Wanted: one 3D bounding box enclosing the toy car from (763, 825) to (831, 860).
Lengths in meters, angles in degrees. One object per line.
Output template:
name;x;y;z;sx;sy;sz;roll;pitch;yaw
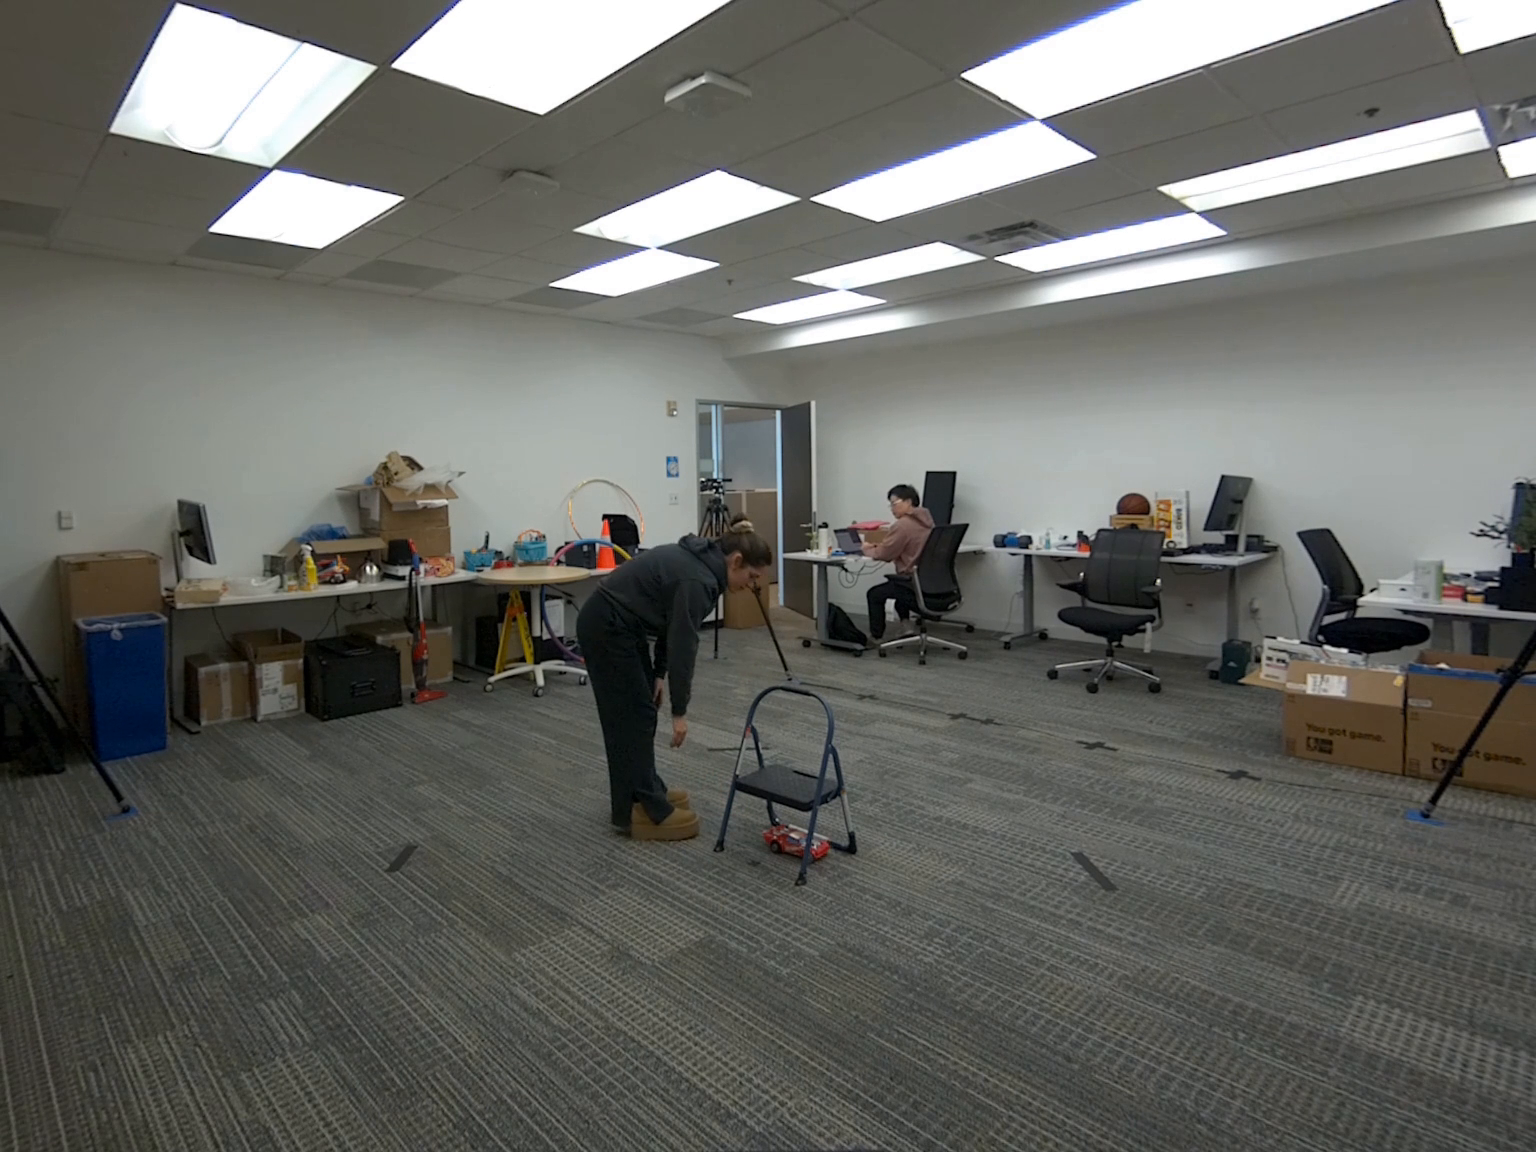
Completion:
toy car;0.101;1.004;3.192;0.263;0.082;0.127;16;14;35
